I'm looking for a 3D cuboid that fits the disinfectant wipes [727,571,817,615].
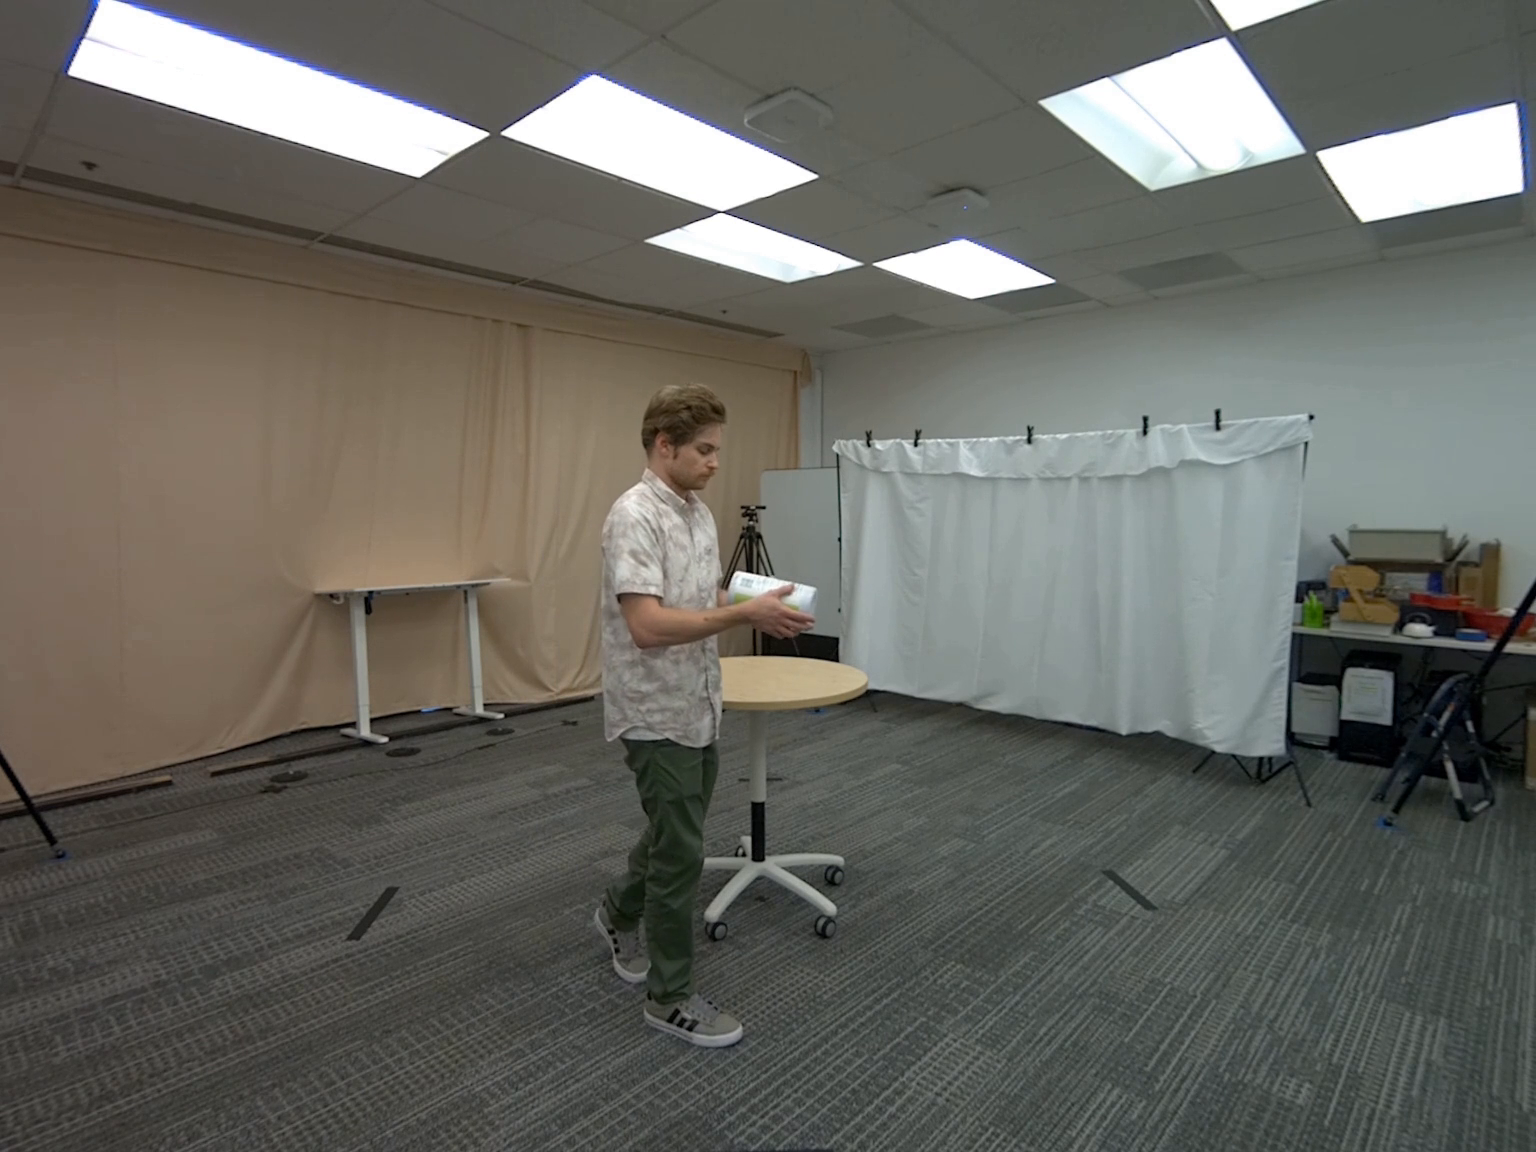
[{"bbox_3d":[0.007,0.060,2.157,0.221,0.117,0.116,12,6,14],"label":"disinfectant wipes"}]
